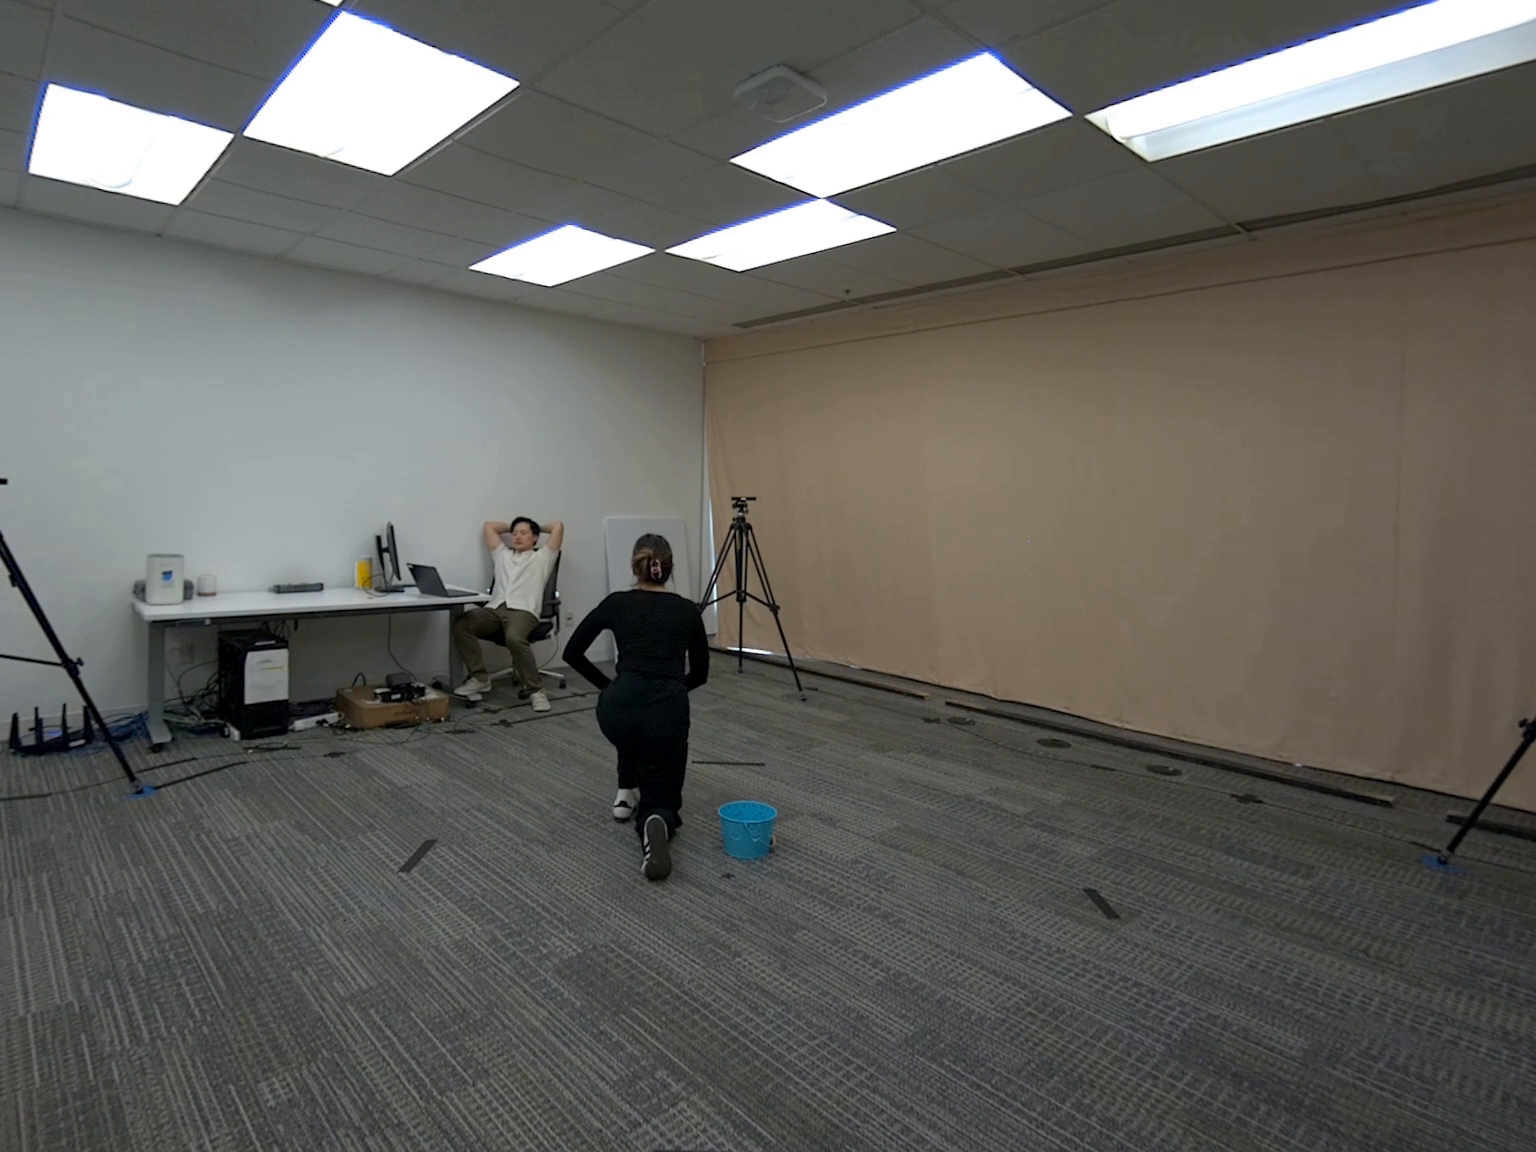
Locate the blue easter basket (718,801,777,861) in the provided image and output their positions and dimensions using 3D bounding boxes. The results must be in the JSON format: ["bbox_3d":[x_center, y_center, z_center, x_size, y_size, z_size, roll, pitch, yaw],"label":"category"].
[{"bbox_3d":[-0.087,1.009,3.340,0.243,0.155,0.244,2,5,-1],"label":"blue easter basket"}]
